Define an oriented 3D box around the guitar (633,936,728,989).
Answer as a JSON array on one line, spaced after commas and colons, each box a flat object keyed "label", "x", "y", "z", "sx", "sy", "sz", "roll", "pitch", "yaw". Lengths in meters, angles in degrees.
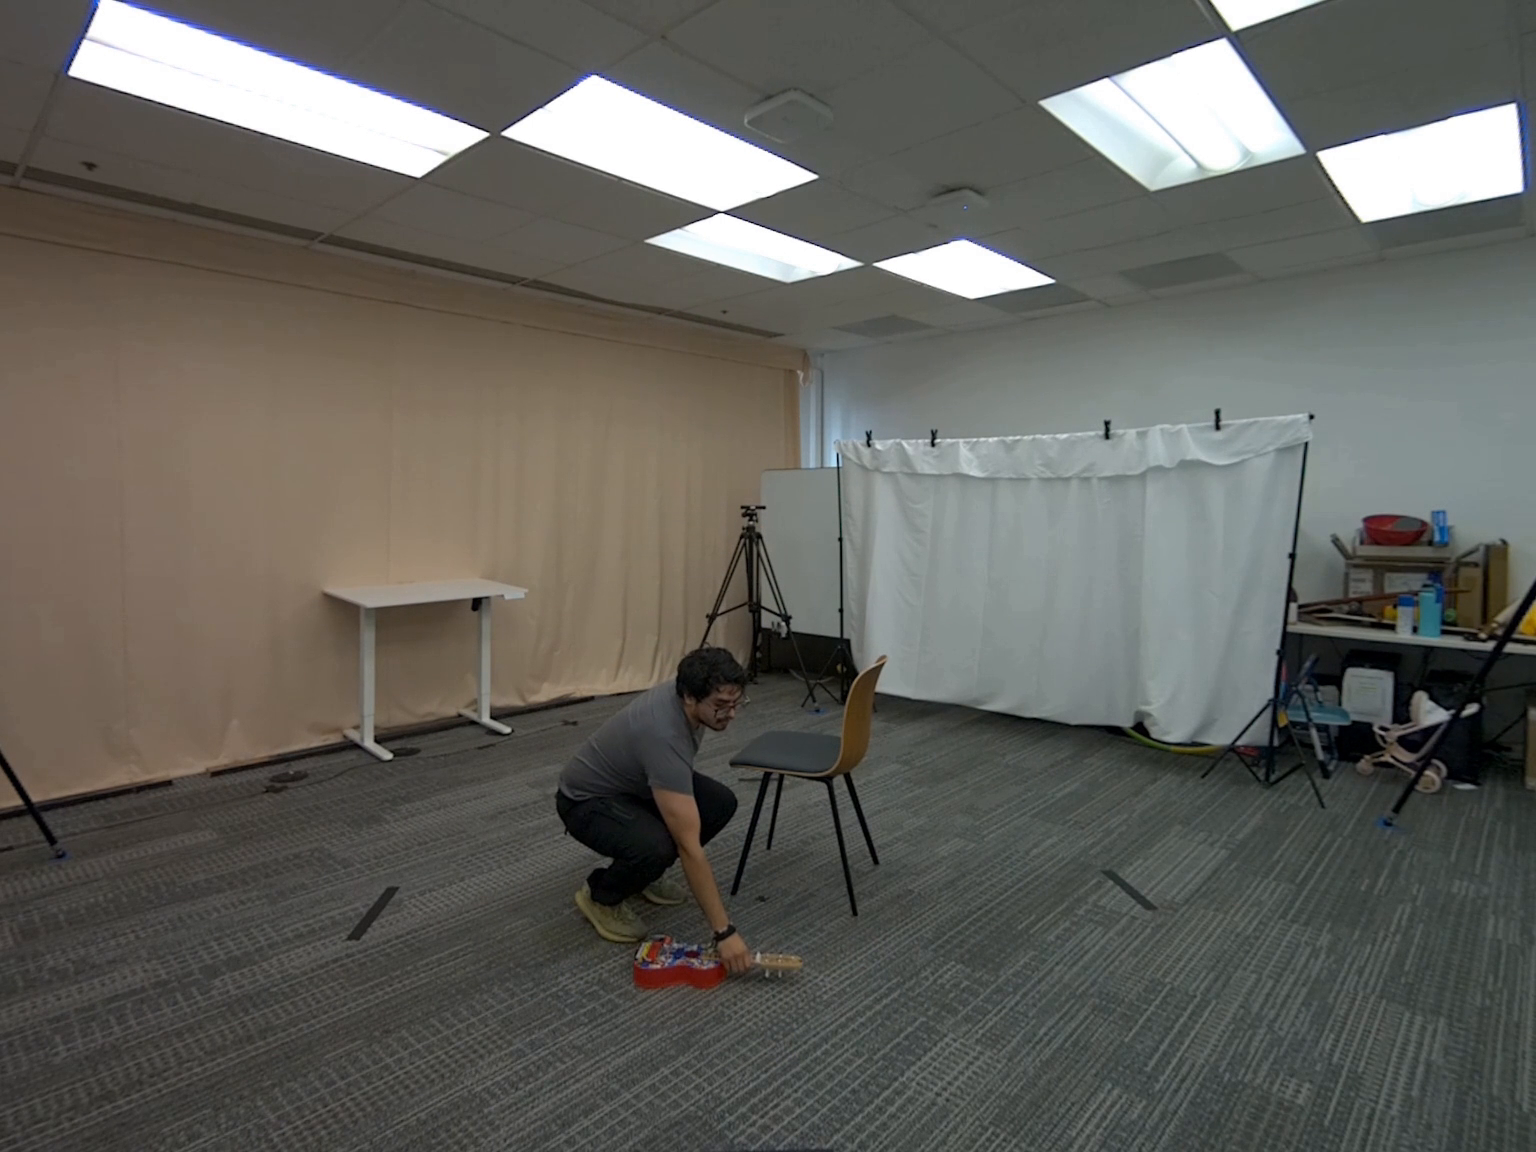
[{"label": "guitar", "x": -0.156, "y": 1.148, "z": 2.470, "sx": 0.507, "sy": 0.070, "sz": 0.190, "roll": 1, "pitch": 4, "yaw": 17}]
